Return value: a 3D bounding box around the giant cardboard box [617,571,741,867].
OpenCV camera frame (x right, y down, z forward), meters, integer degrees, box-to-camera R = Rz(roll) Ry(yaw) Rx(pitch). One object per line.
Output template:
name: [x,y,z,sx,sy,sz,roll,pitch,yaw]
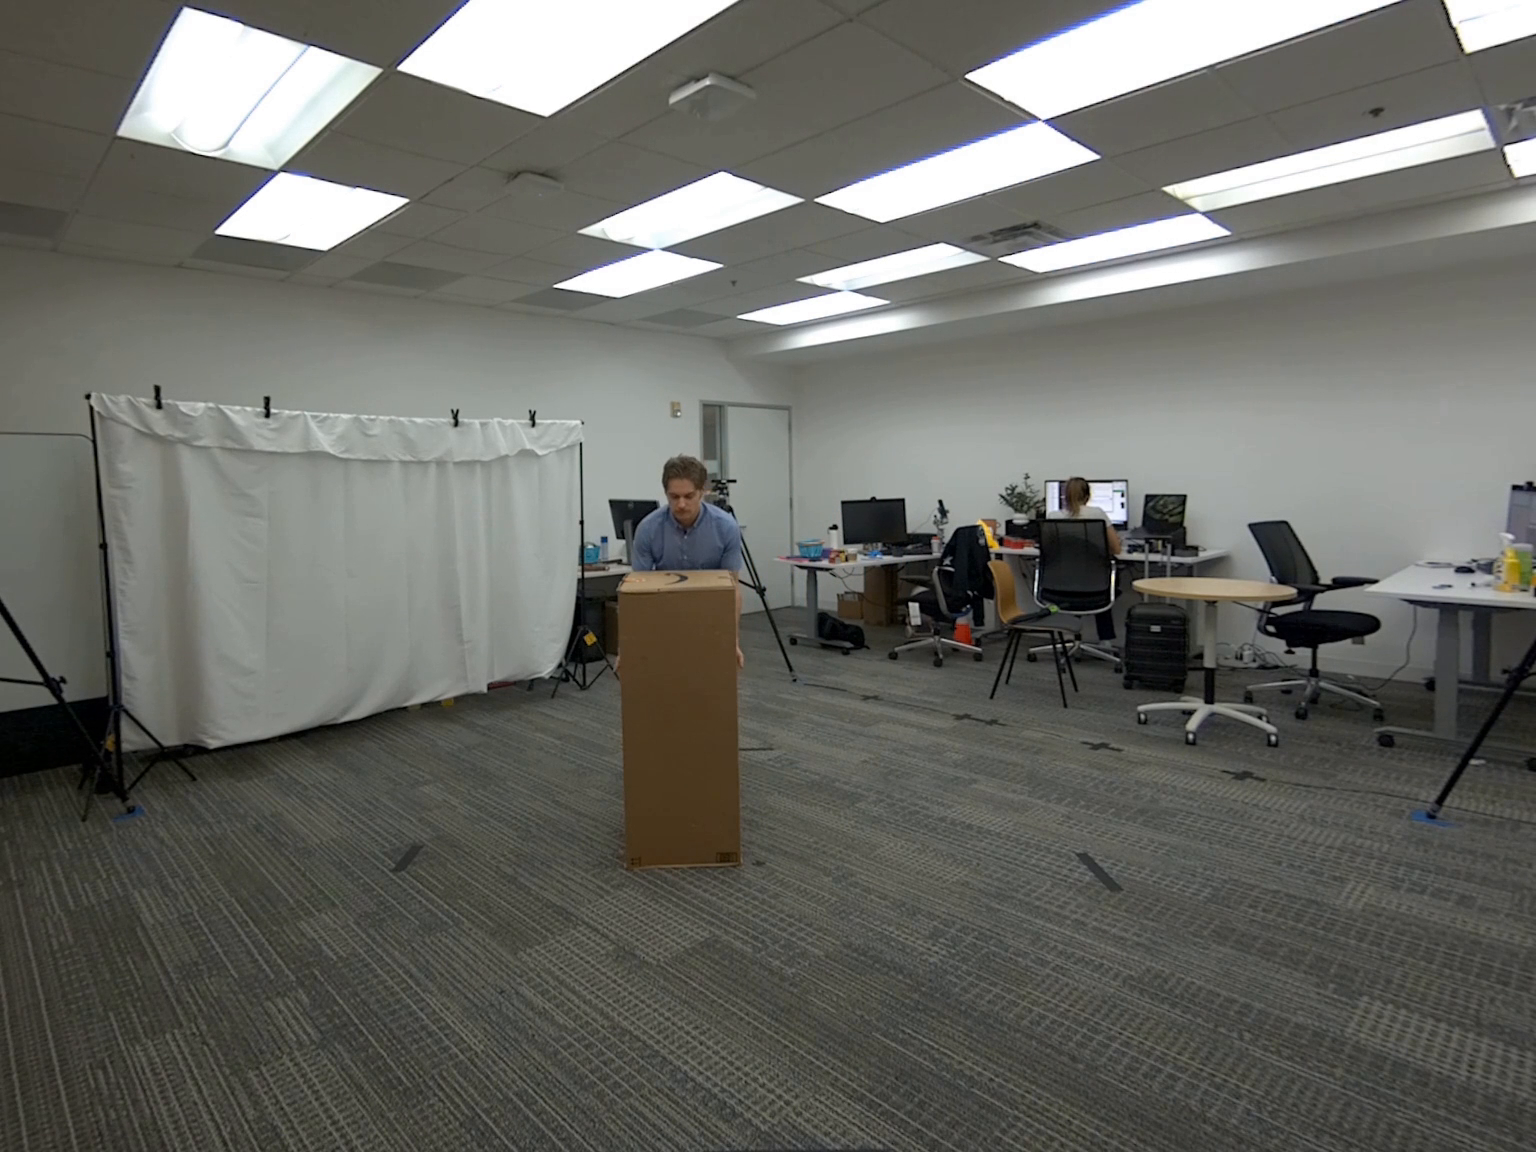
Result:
giant cardboard box: [-0.344,0.520,3.336,0.425,1.022,0.581,-1,4,-3]
